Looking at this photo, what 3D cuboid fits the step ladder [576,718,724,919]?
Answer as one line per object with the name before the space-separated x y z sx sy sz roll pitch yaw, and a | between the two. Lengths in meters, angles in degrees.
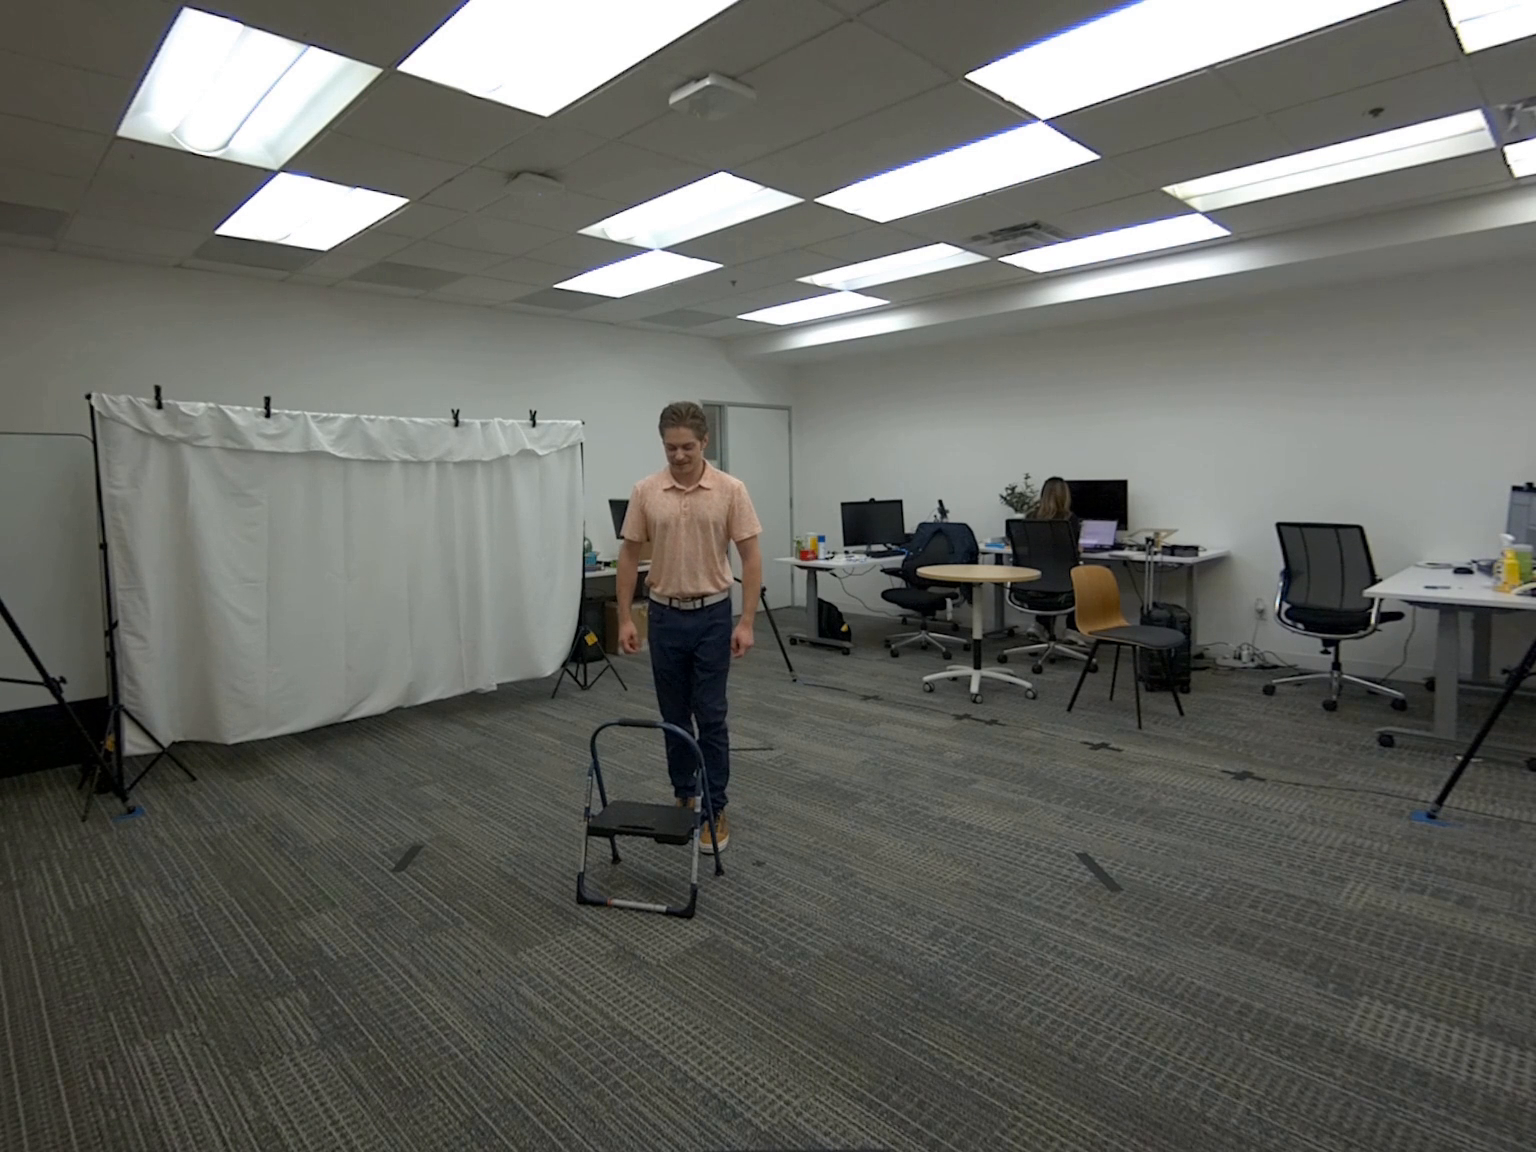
step ladder | -0.410 0.775 2.919 0.437 0.603 0.345 0 5 15
